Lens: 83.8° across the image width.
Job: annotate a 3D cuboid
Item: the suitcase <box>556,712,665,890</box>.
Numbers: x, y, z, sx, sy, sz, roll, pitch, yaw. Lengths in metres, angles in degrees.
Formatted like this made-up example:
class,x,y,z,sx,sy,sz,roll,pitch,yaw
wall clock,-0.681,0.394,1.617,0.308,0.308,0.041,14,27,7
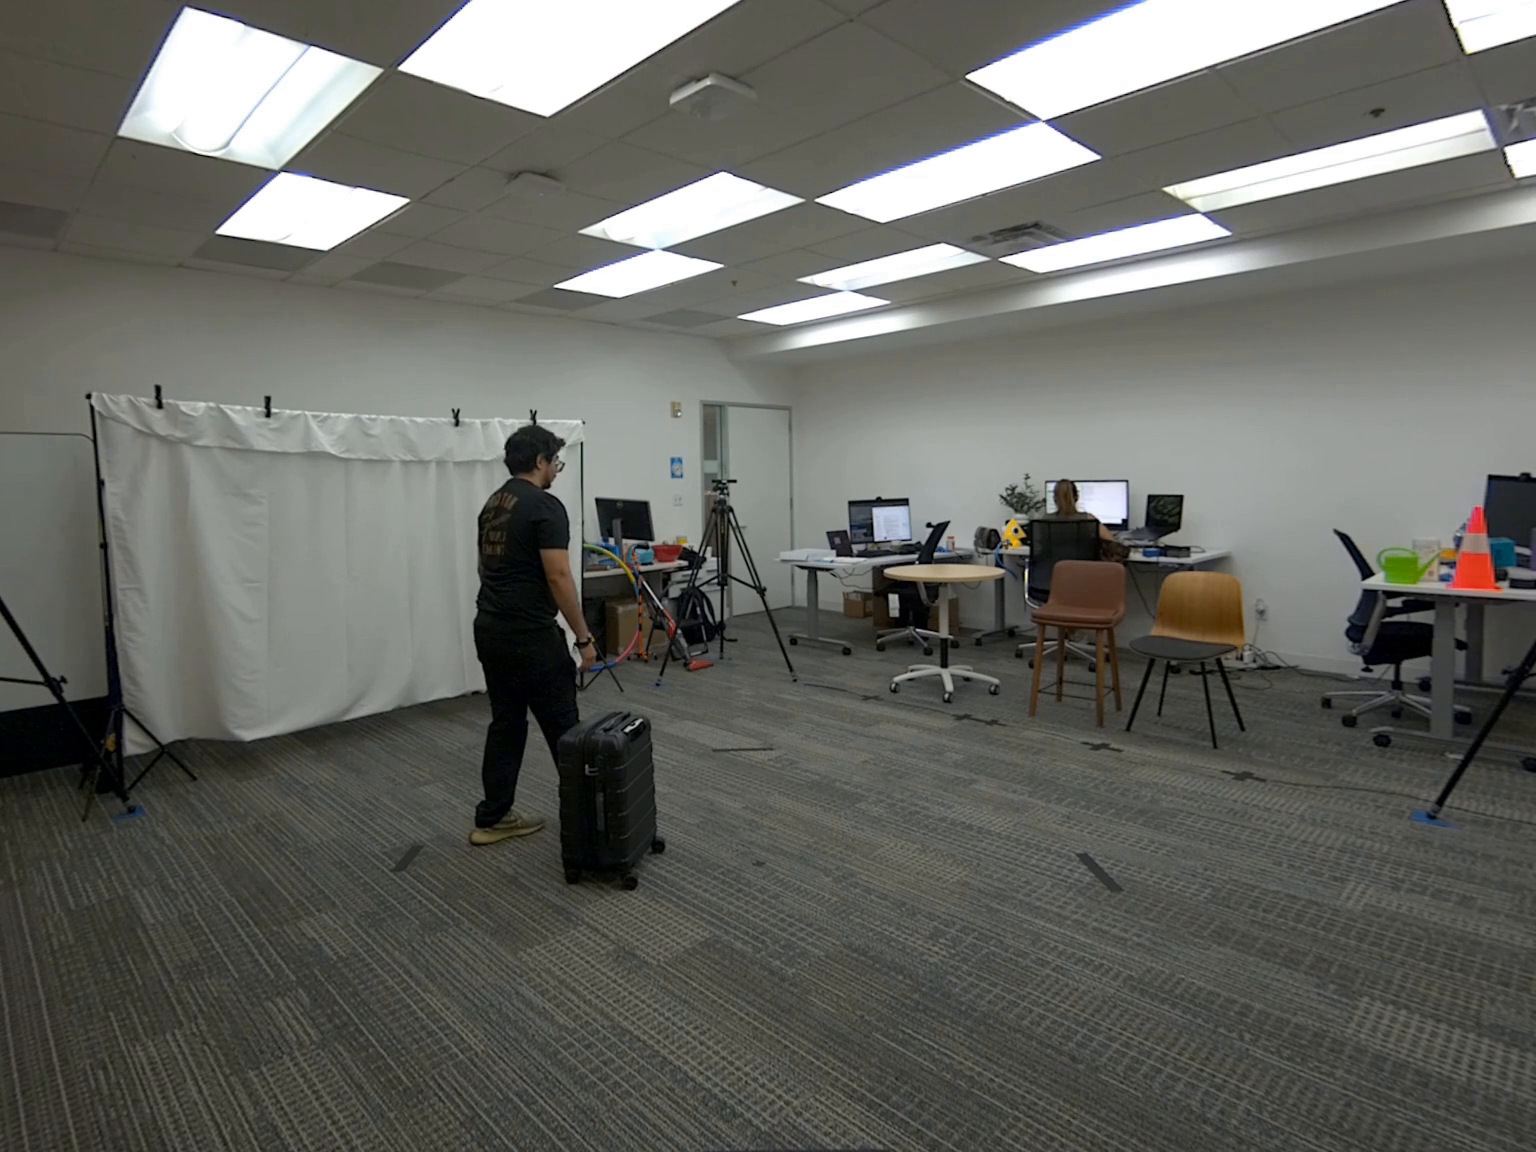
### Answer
class,x,y,z,sx,sy,sz,roll,pitch,yaw
suitcase,-0.573,0.784,3.089,0.252,0.547,0.371,-2,4,14
